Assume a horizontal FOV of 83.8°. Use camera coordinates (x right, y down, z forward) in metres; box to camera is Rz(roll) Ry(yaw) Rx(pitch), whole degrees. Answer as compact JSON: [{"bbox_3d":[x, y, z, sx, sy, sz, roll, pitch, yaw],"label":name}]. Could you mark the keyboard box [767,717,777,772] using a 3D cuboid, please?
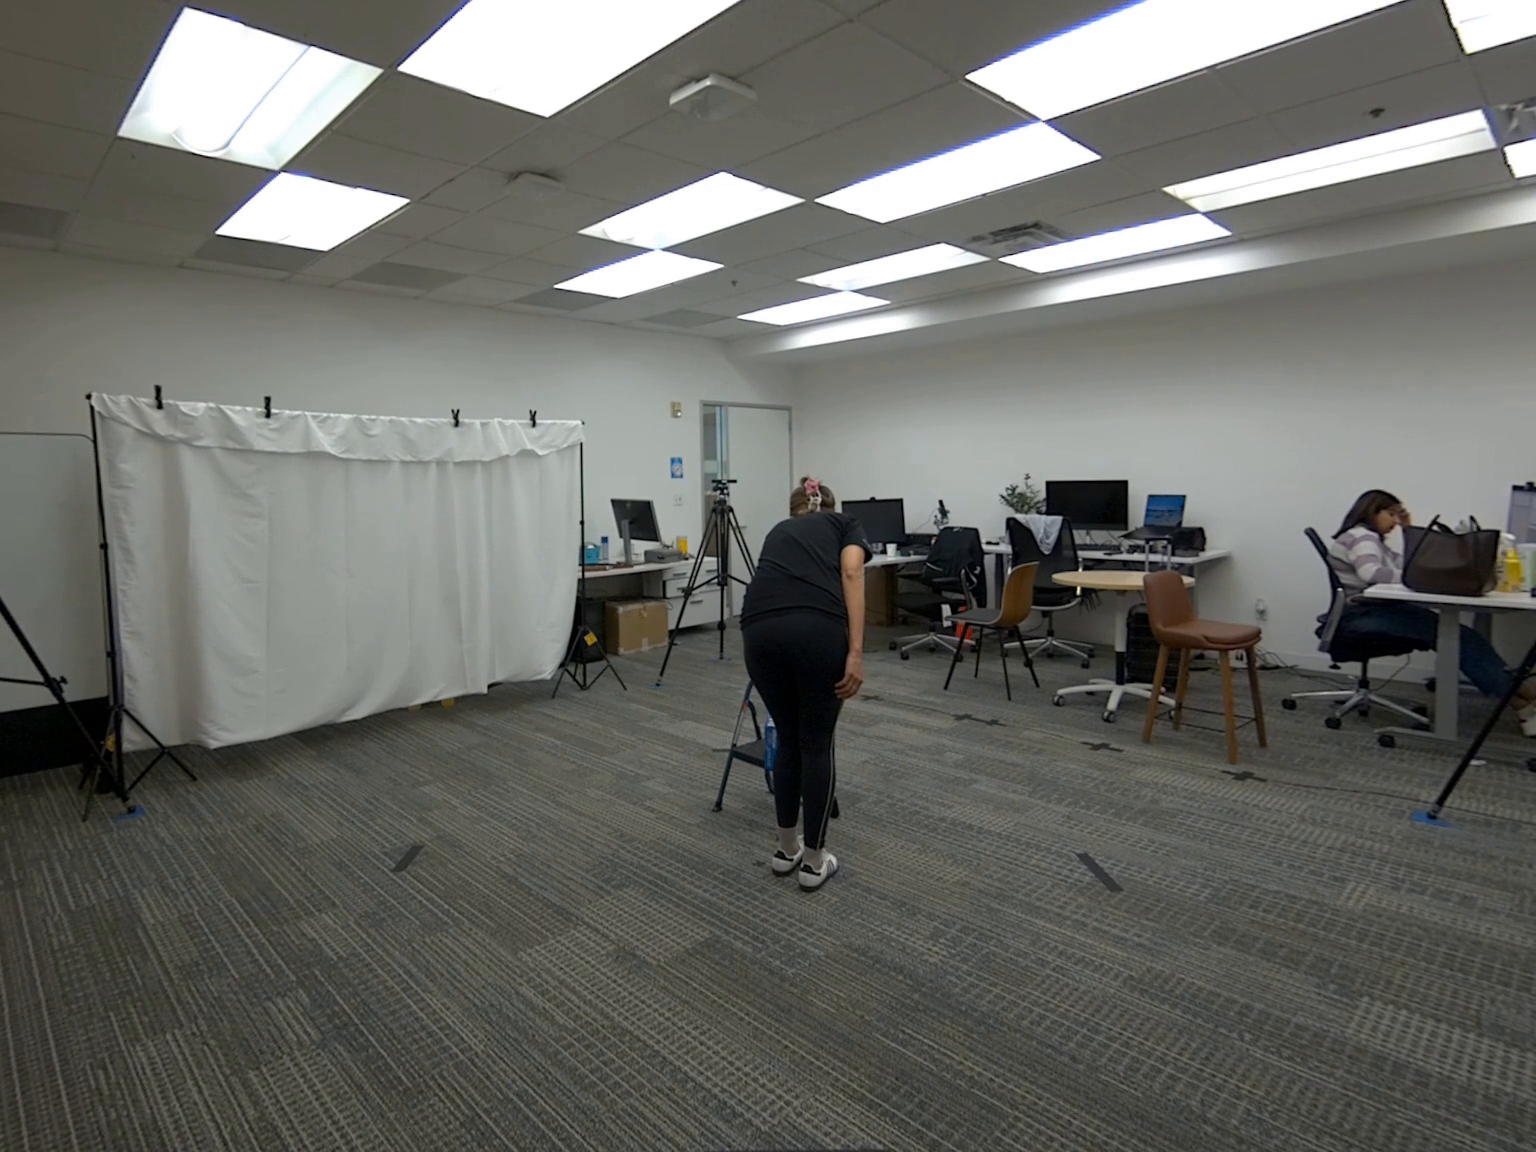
[{"bbox_3d":[0.042,0.646,3.554,0.059,0.175,0.437,1,7,4],"label":"keyboard box"}]
